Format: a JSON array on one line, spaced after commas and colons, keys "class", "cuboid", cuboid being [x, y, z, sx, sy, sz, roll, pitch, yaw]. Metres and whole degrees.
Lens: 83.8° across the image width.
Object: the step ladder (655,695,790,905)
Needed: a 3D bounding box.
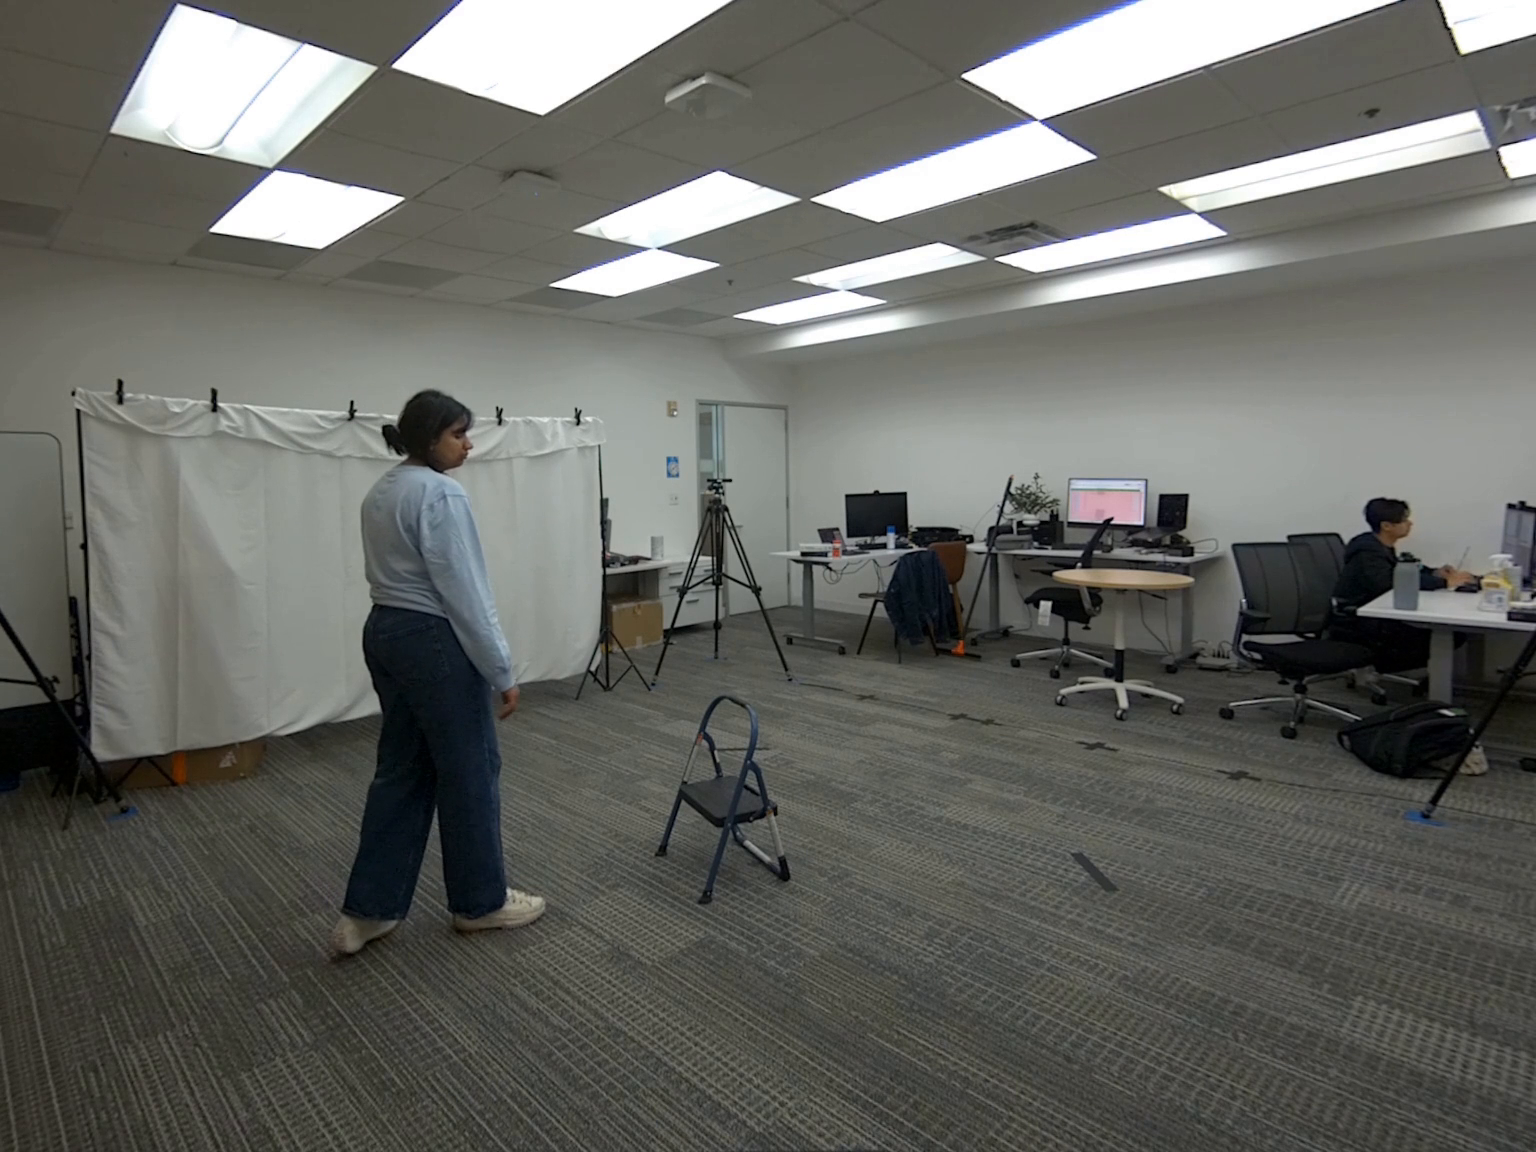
[{"class": "step ladder", "cuboid": [-0.168, 0.748, 3.060, 0.341, 0.604, 0.442, -3, 5, -28]}]
